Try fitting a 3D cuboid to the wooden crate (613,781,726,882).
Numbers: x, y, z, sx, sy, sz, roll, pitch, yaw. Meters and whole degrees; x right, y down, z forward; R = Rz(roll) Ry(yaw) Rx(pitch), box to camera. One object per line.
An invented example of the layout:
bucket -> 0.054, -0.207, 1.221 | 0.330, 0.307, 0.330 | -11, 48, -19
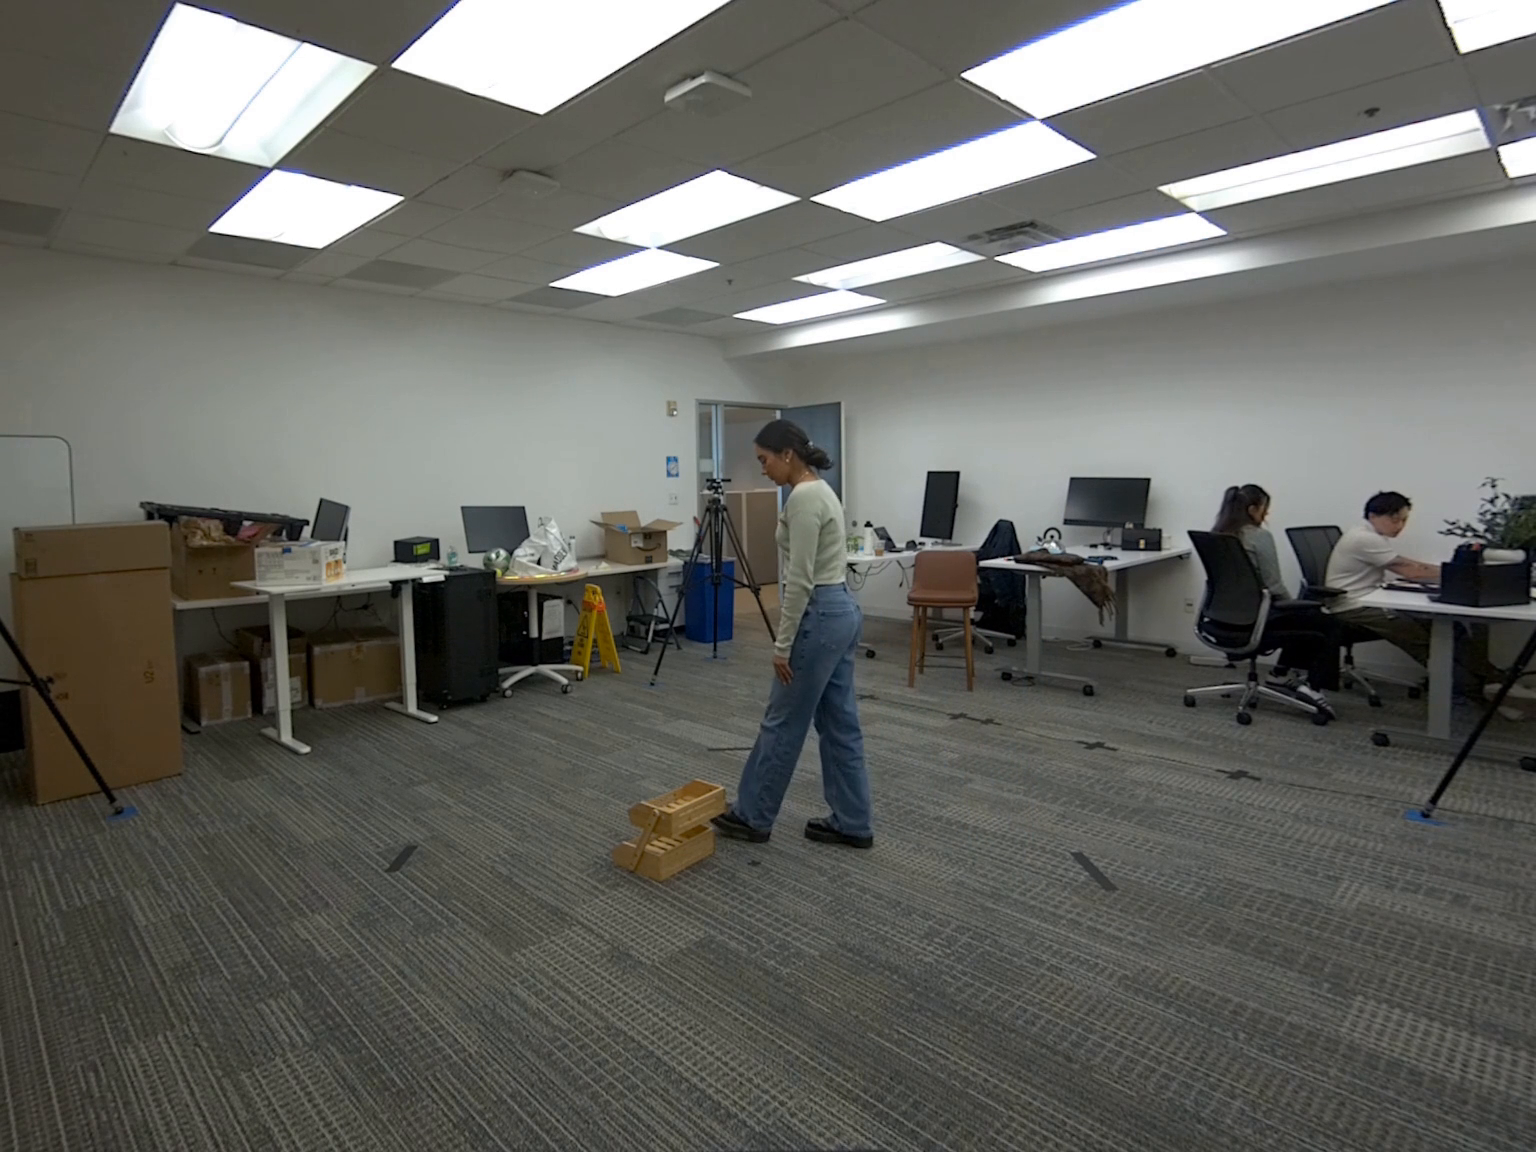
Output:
wooden crate -> -0.367, 0.910, 3.141 | 0.311, 0.272, 0.316 | 4, 7, 37
